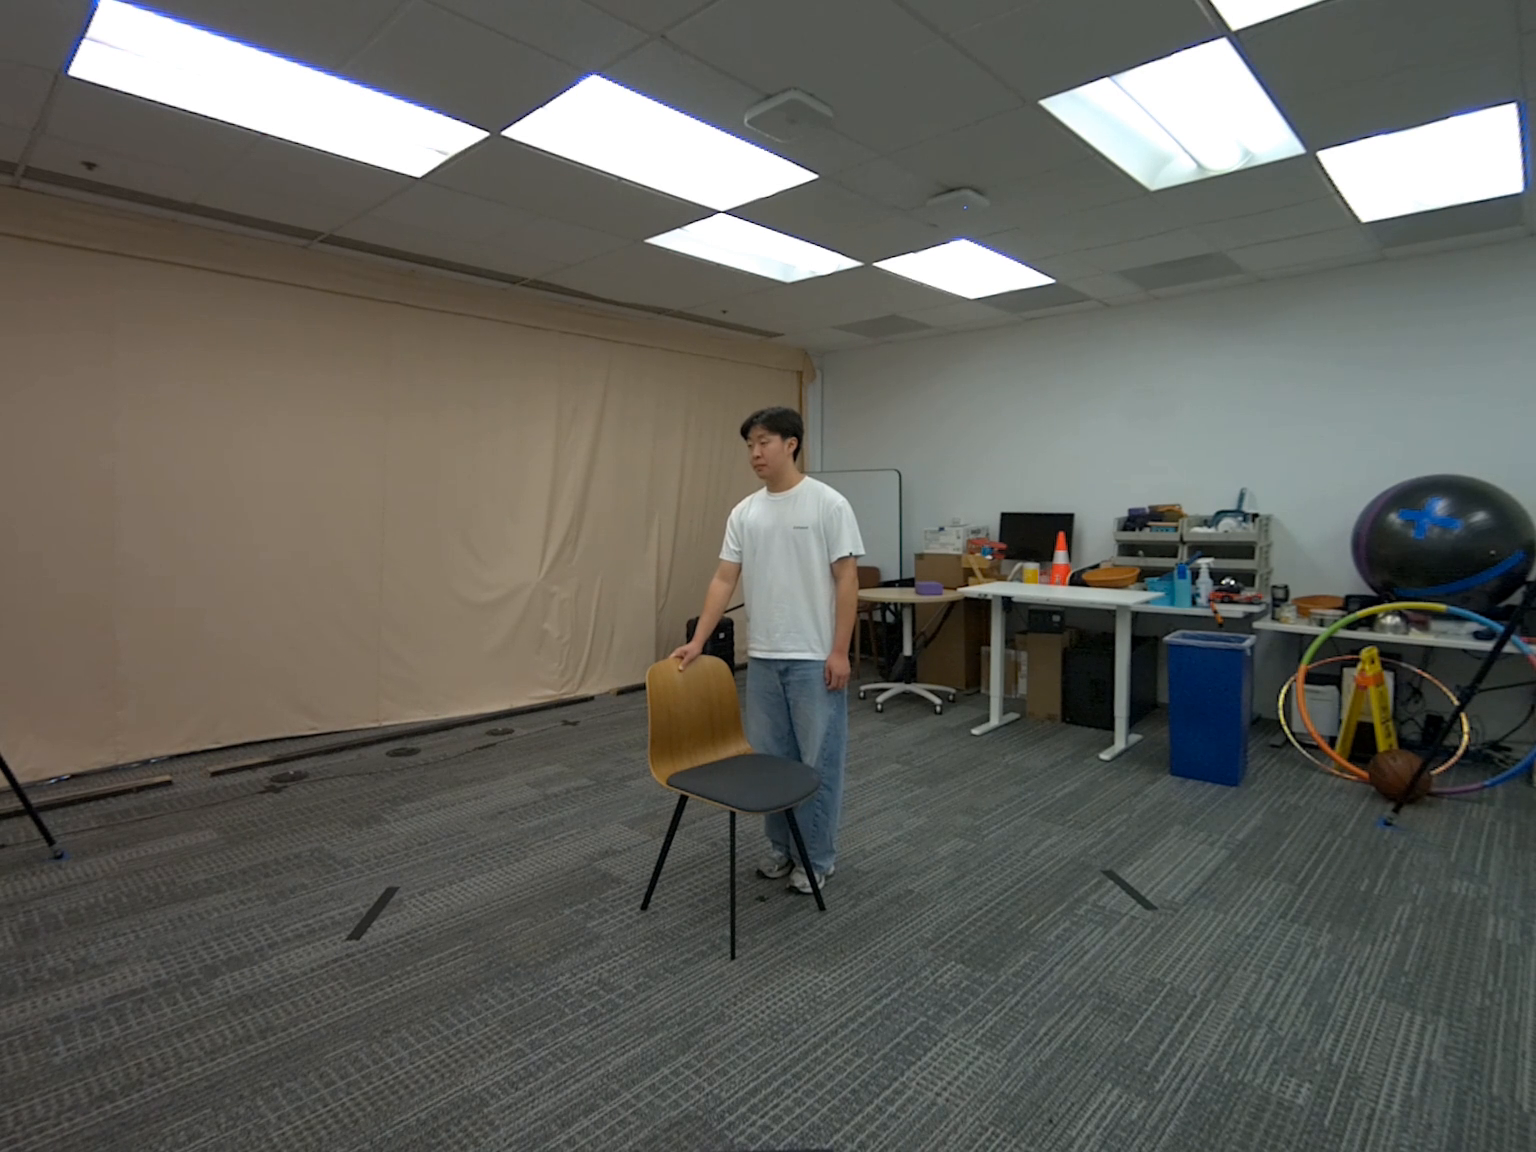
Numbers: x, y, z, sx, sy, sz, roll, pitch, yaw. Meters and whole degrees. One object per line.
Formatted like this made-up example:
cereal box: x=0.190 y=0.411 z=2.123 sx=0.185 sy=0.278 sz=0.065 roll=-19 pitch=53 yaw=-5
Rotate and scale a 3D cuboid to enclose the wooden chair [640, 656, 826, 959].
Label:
wooden chair: x=-0.120 y=0.728 z=2.857 sx=0.463 sy=0.877 sz=0.539 roll=-3 pitch=0 yaw=-45
